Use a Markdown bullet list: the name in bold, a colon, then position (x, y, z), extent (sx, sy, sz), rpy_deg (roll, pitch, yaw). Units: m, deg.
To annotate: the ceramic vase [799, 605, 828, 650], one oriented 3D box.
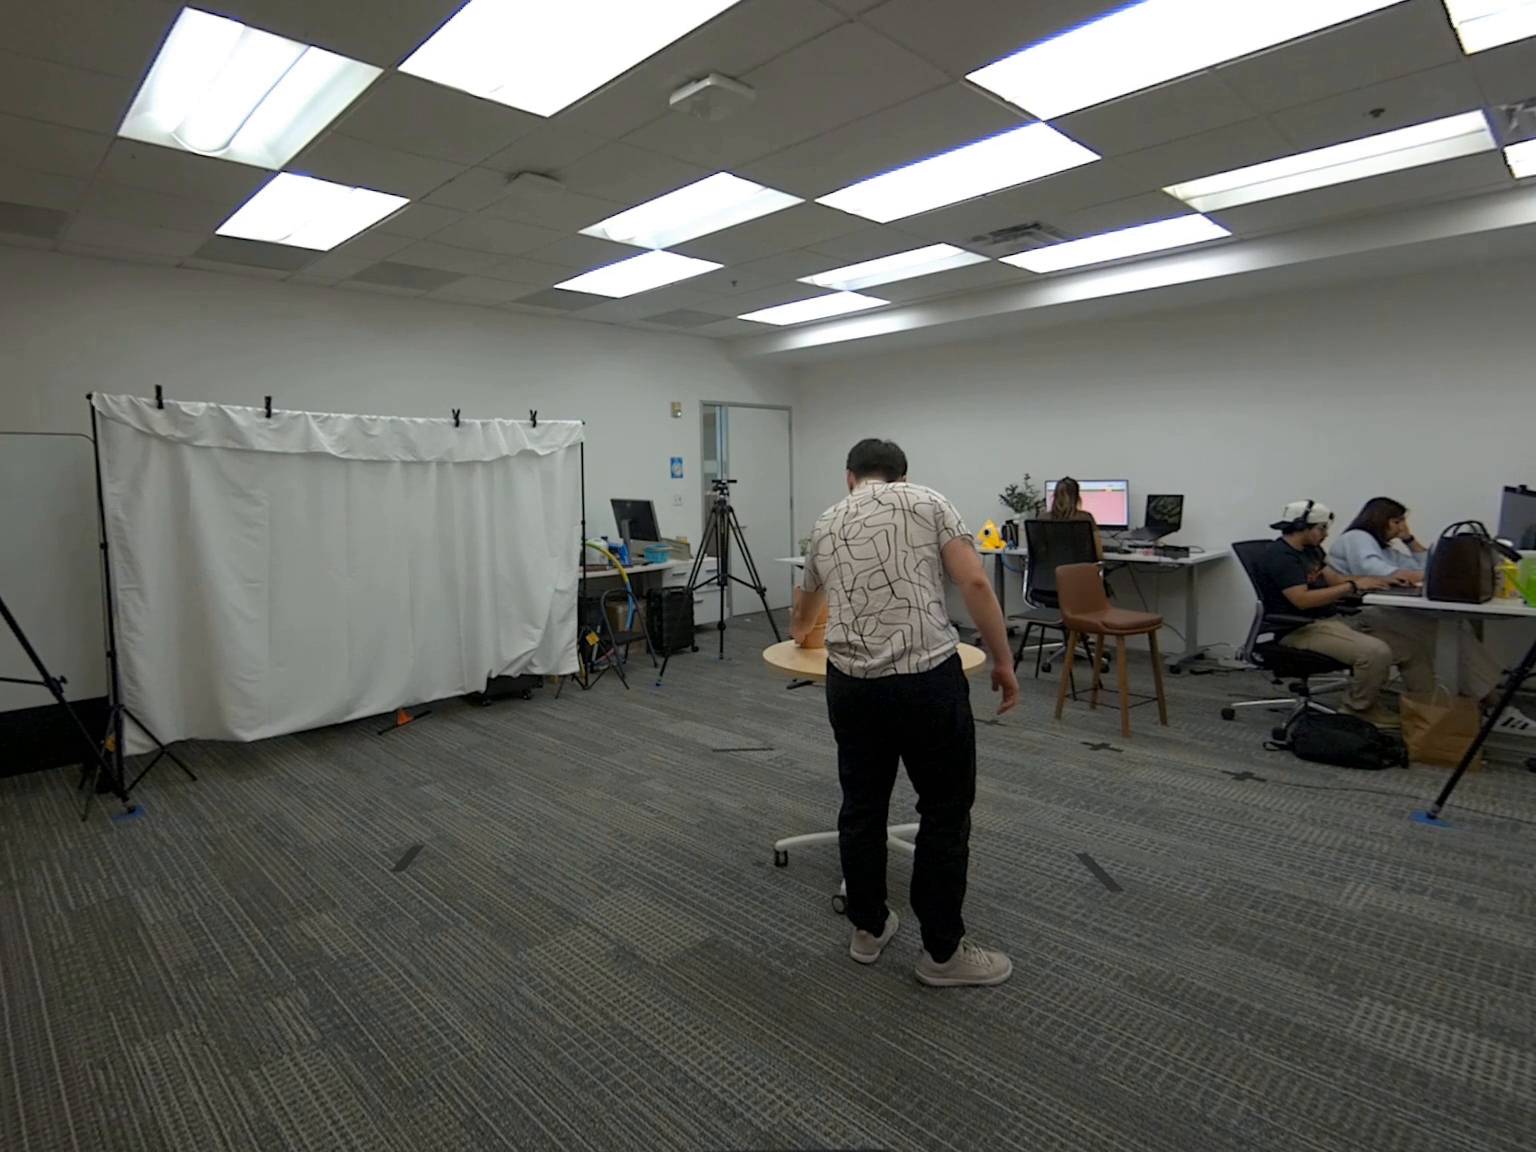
- **ceramic vase**: position (0.169, 0.149, 3.134), extent (0.155, 0.219, 0.138), rpy_deg (-5, 5, -40)
